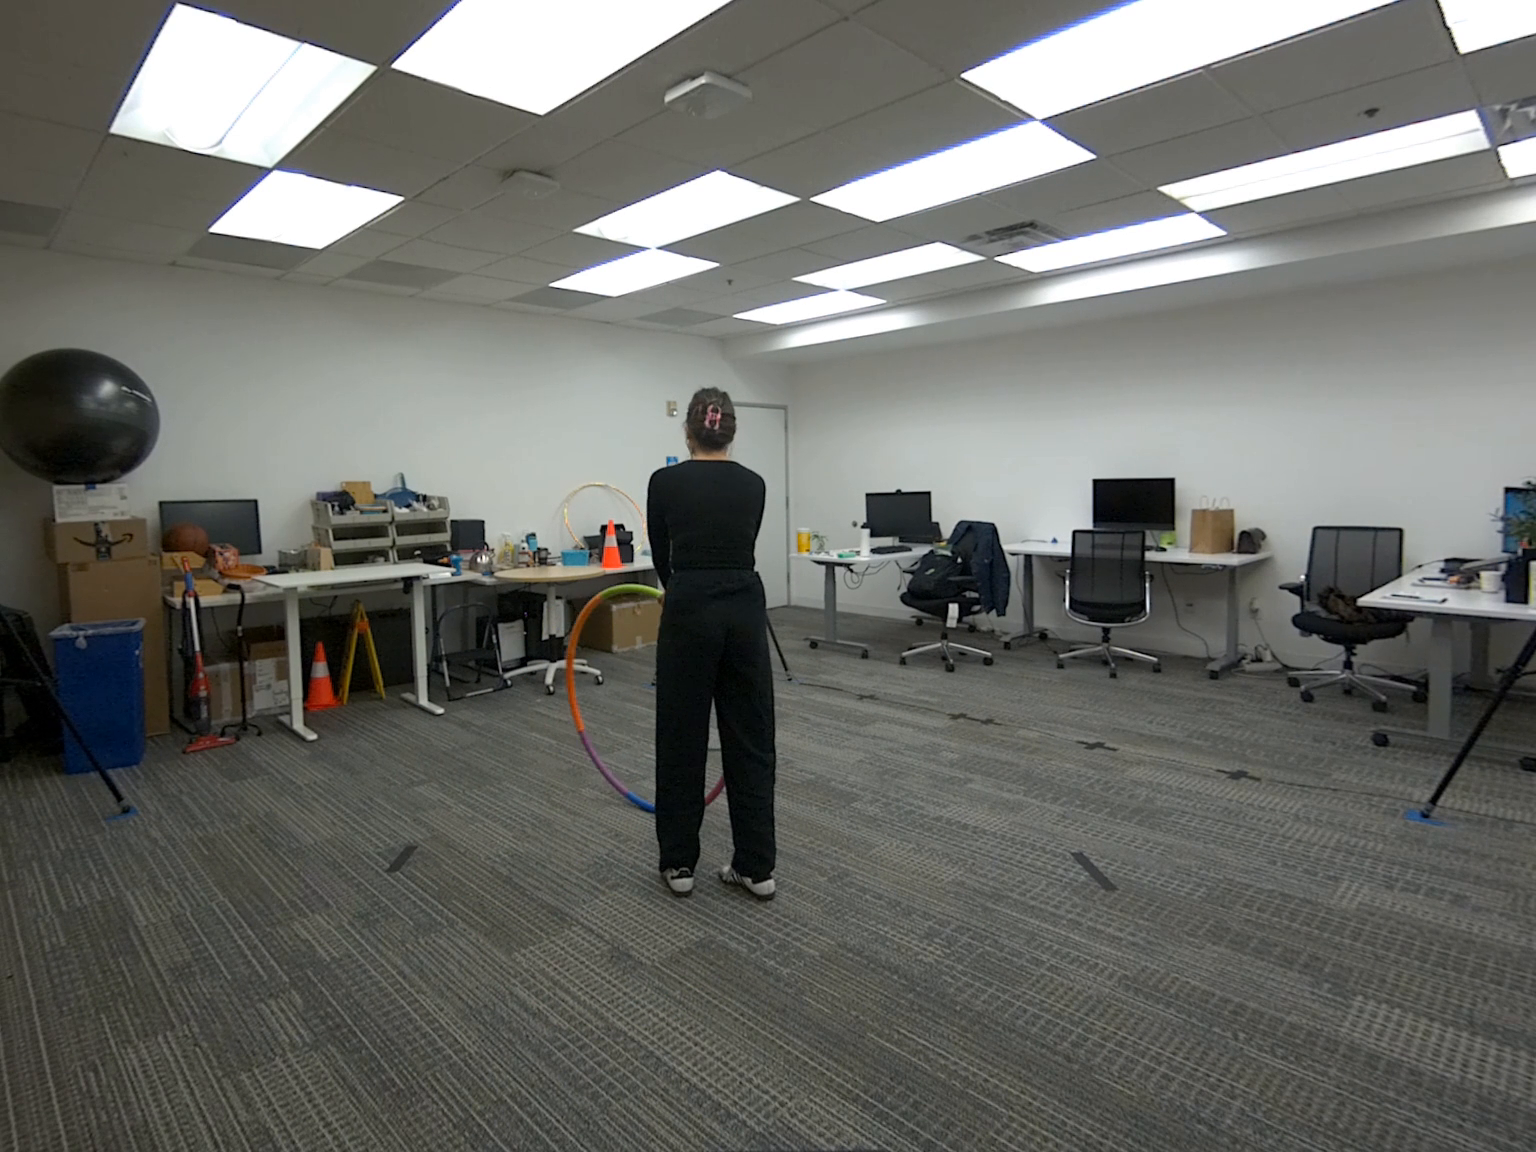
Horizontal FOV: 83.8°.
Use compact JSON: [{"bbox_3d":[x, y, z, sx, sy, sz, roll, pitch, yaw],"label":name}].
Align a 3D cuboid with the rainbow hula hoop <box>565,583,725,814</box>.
[{"bbox_3d":[-0.502,0.522,3.555,1.008,0.972,0.035,3,9,40],"label":"rainbow hula hoop"}]
